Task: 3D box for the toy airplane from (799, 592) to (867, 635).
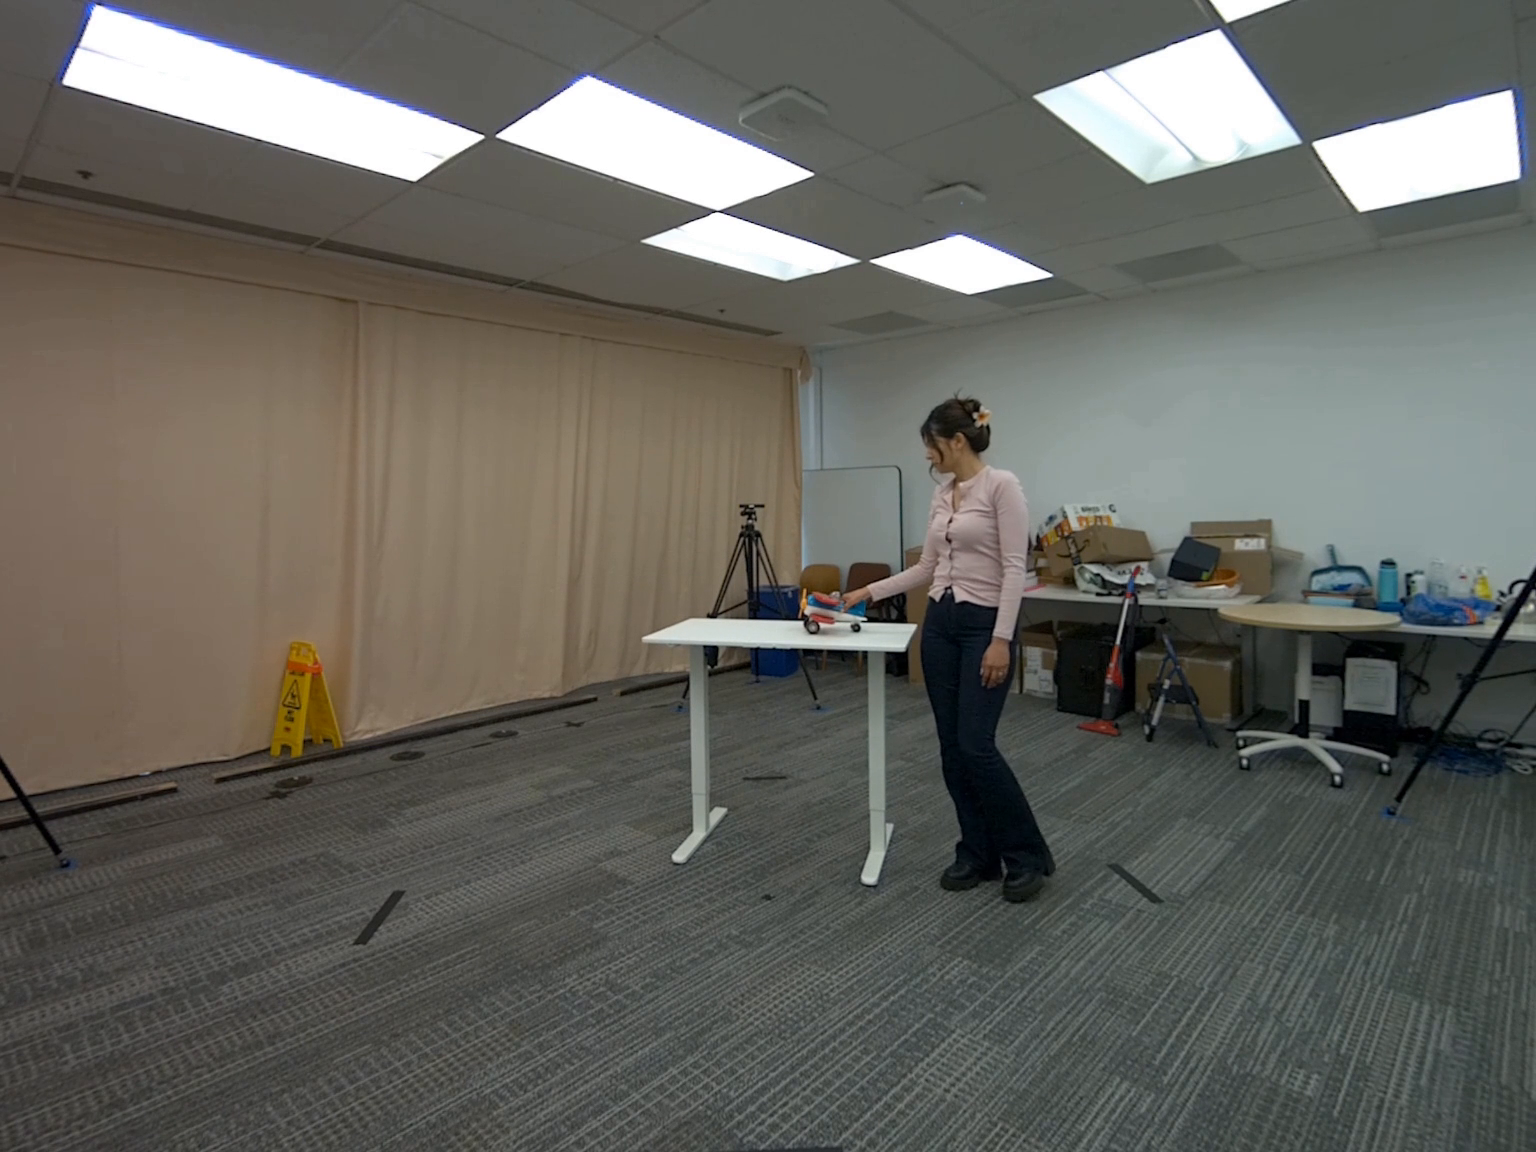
[{"bbox_3d":[0.257,0.148,3.360,0.252,0.156,0.258,-4,7,-29],"label":"toy airplane"}]
